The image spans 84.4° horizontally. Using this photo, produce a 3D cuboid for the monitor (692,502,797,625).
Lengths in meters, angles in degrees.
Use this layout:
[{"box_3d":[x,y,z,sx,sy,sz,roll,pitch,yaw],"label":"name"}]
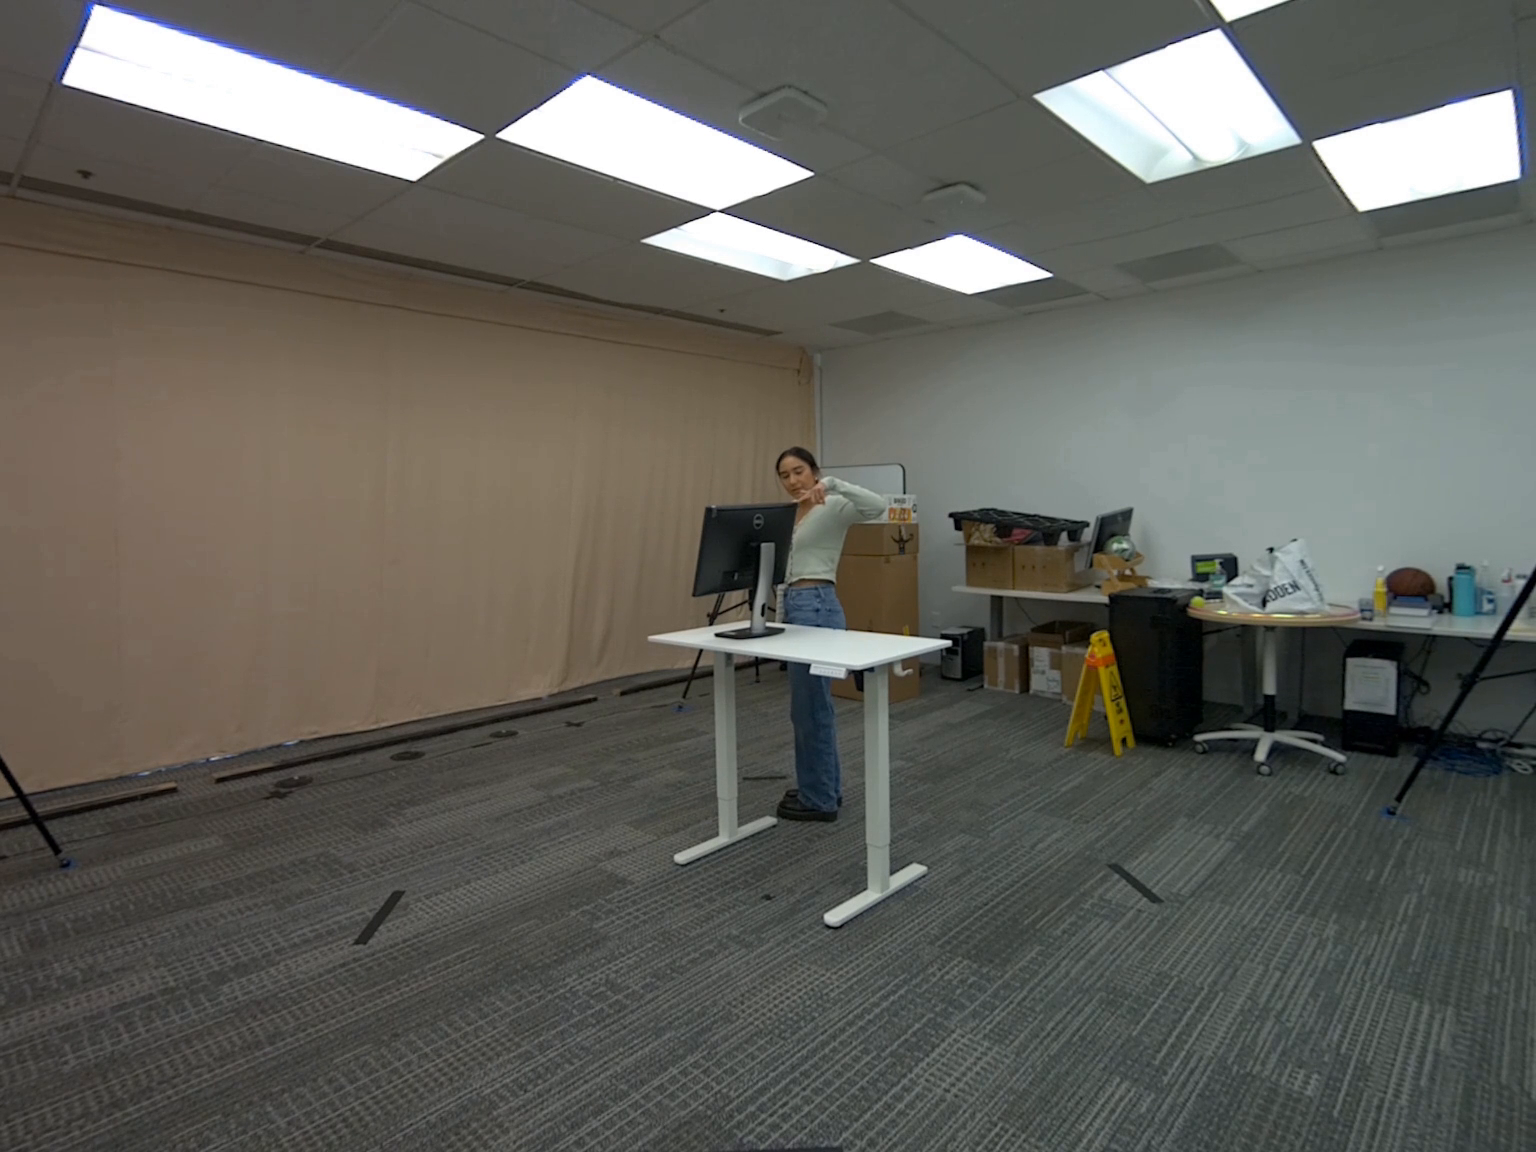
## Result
[{"box_3d":[-0.054,-0.019,3.301,0.193,0.521,0.523,5,8,40],"label":"monitor"}]
